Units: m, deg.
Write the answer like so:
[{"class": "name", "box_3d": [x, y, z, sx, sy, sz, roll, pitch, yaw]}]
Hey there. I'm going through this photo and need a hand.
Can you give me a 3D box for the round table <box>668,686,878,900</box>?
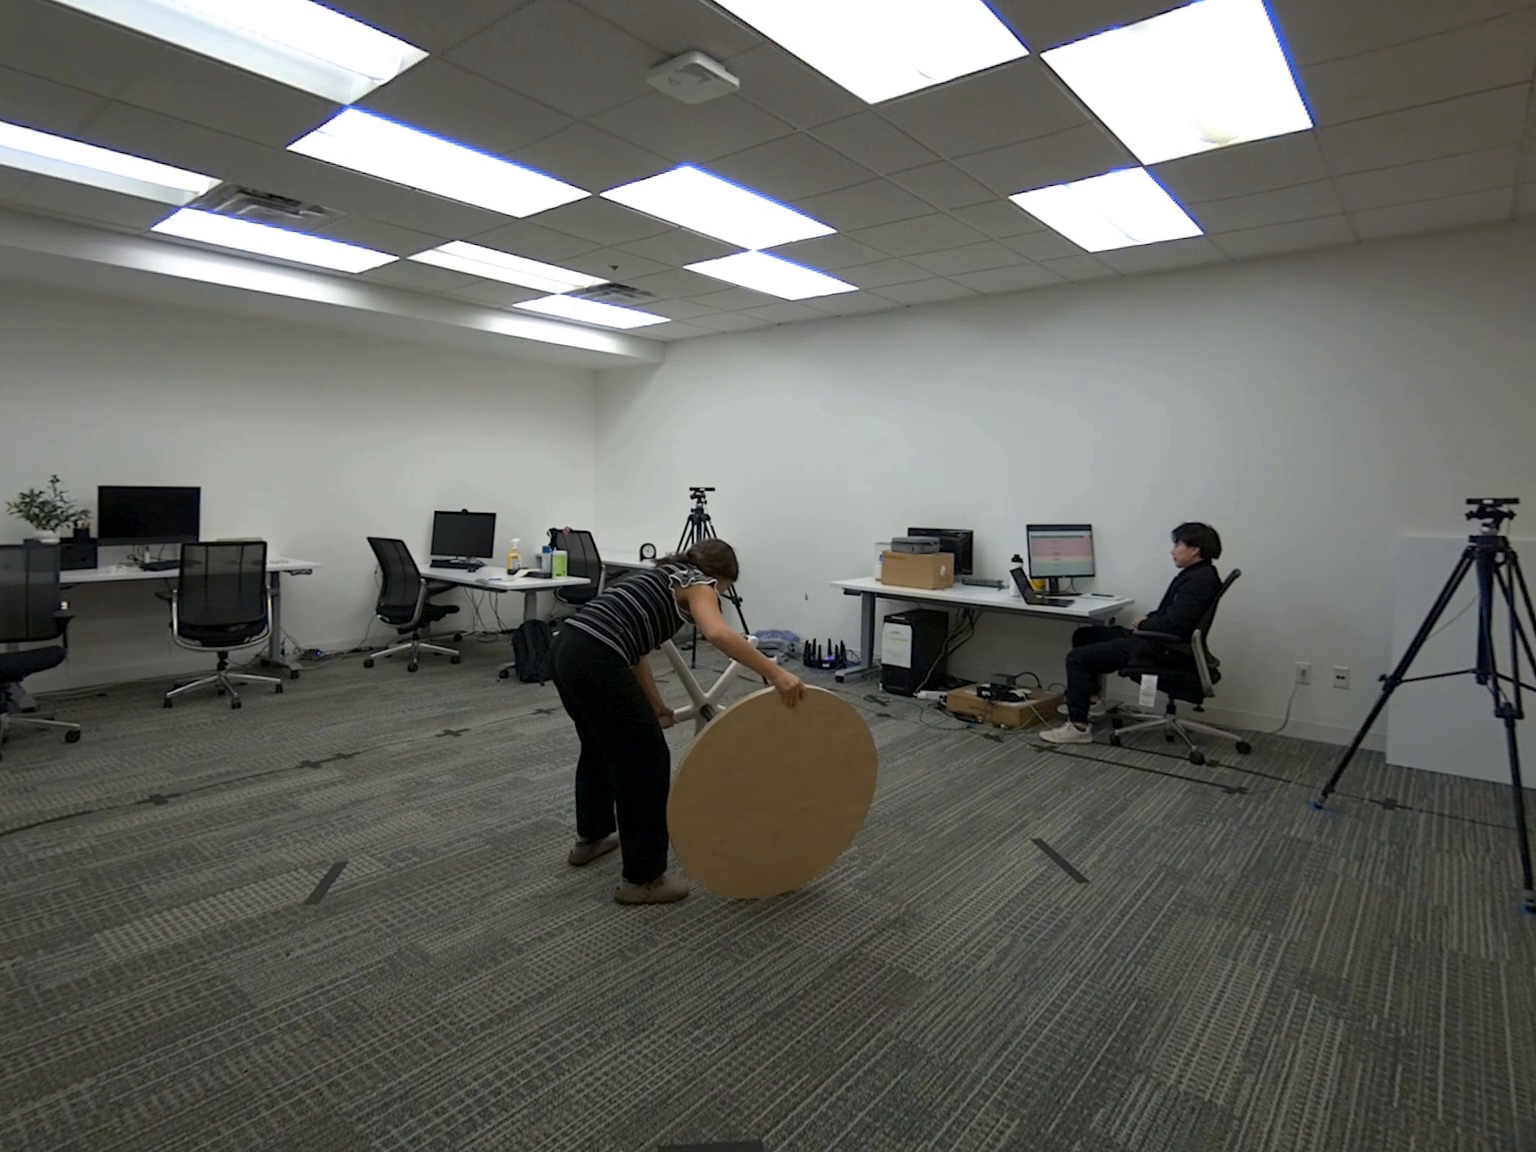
[{"class": "round table", "box_3d": [-0.149, 0.622, 3.177, 0.747, 0.755, 0.821, -1, 15, -24]}]
